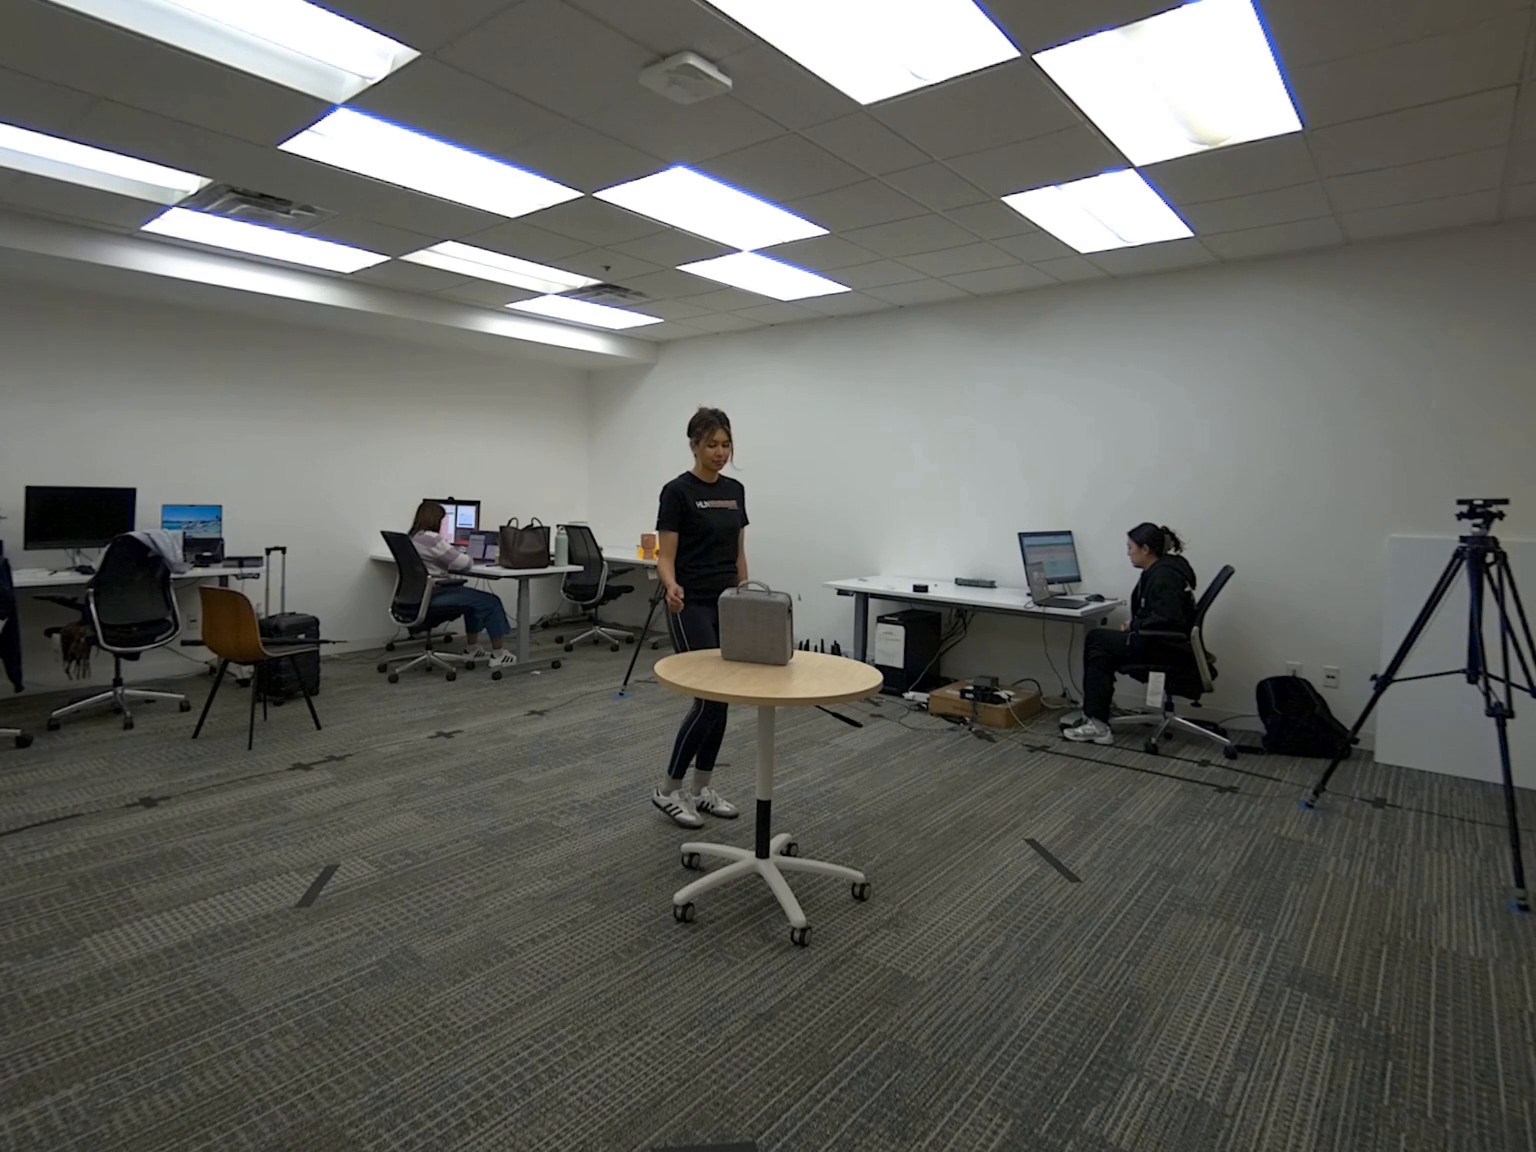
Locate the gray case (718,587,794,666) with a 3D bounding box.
[{"bbox_3d":[-0.051,0.168,2.978,0.262,0.257,0.104,2,15,19],"label":"gray case"}]
